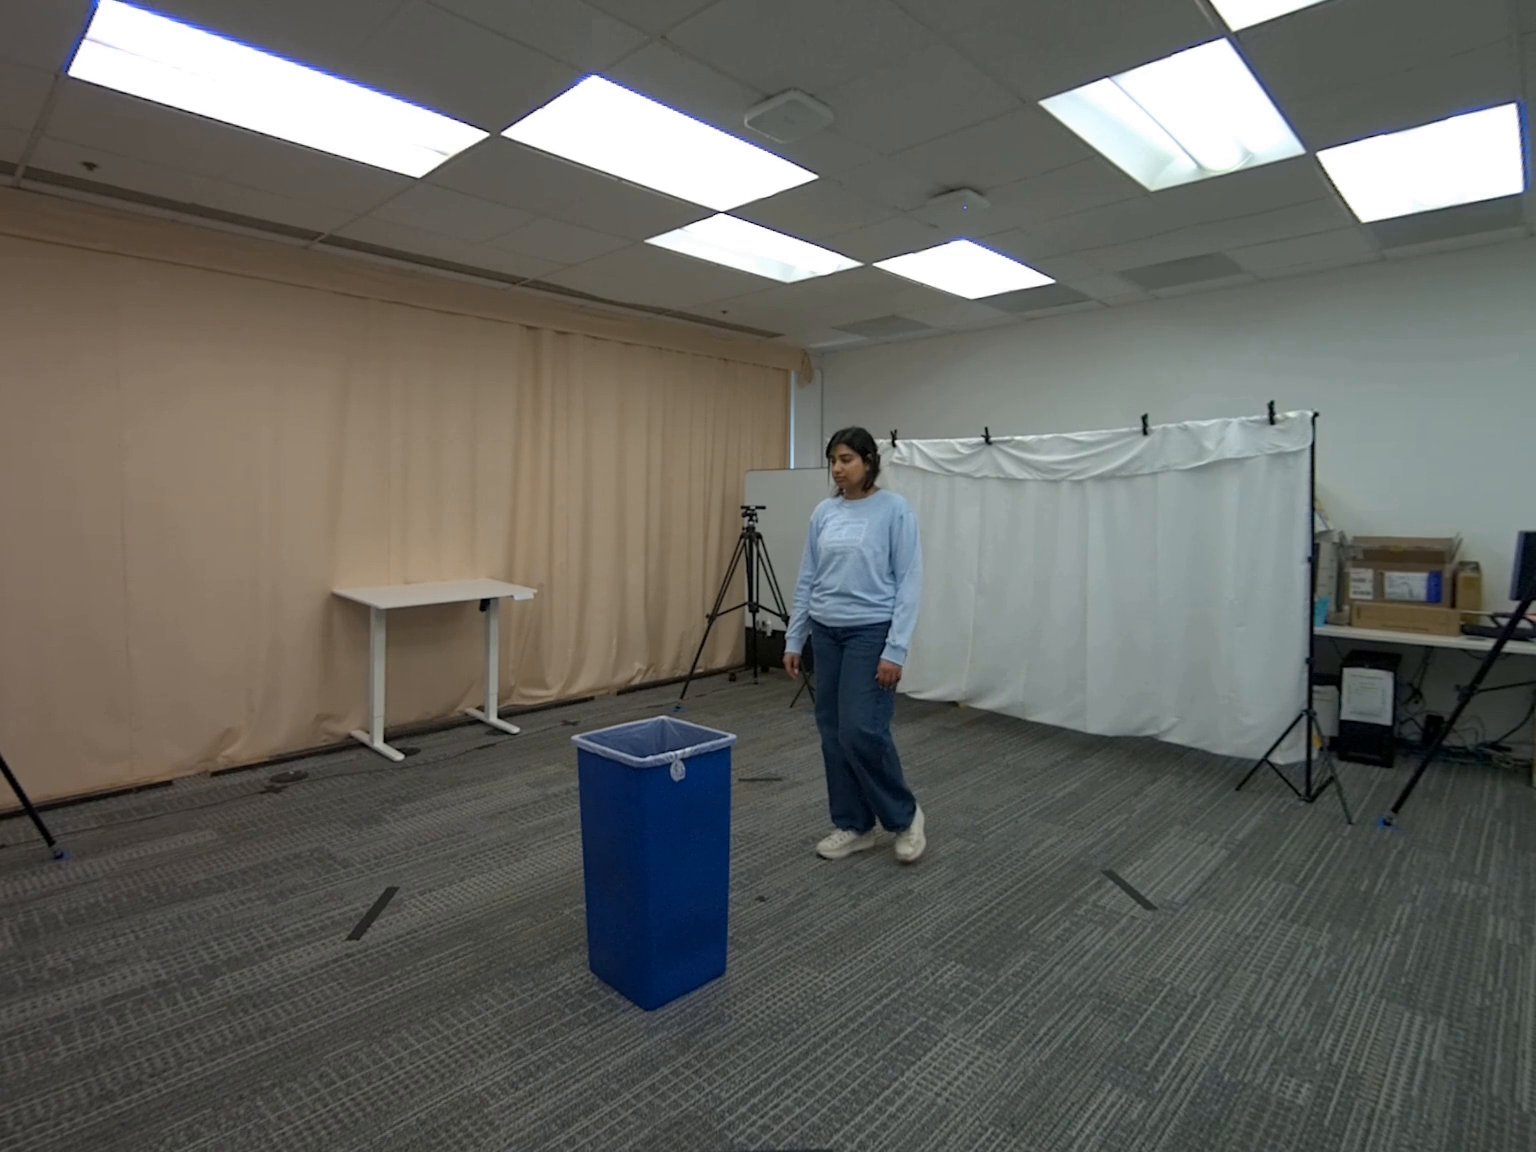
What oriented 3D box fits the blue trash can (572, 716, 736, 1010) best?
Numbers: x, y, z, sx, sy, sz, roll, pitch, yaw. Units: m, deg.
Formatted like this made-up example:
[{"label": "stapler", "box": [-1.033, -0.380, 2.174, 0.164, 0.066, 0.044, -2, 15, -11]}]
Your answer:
[{"label": "blue trash can", "box": [-0.339, 0.829, 2.508, 0.366, 0.712, 0.386, -3, 4, -44]}]
